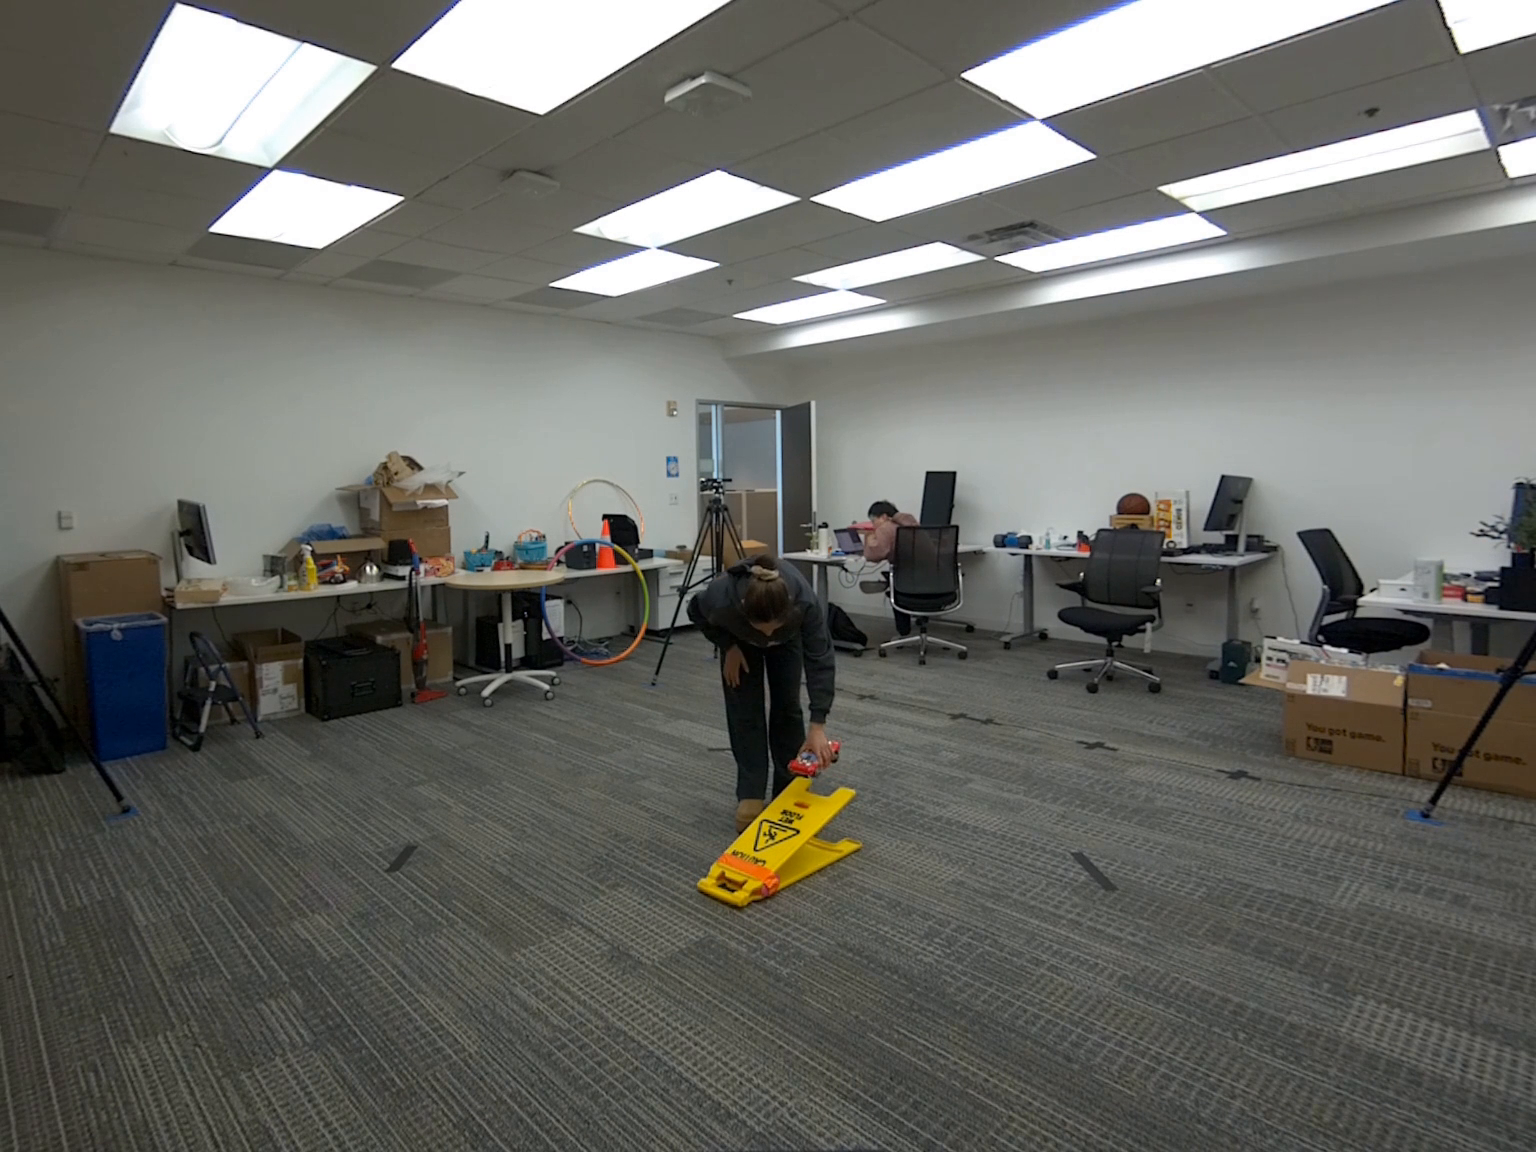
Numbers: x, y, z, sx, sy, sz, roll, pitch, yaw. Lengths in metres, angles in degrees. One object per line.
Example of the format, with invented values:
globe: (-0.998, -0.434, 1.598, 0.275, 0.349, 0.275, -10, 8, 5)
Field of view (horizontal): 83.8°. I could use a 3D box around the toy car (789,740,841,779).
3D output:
toy car: (0.188, 0.694, 3.212, 0.134, 0.081, 0.253, 1, 24, 32)
